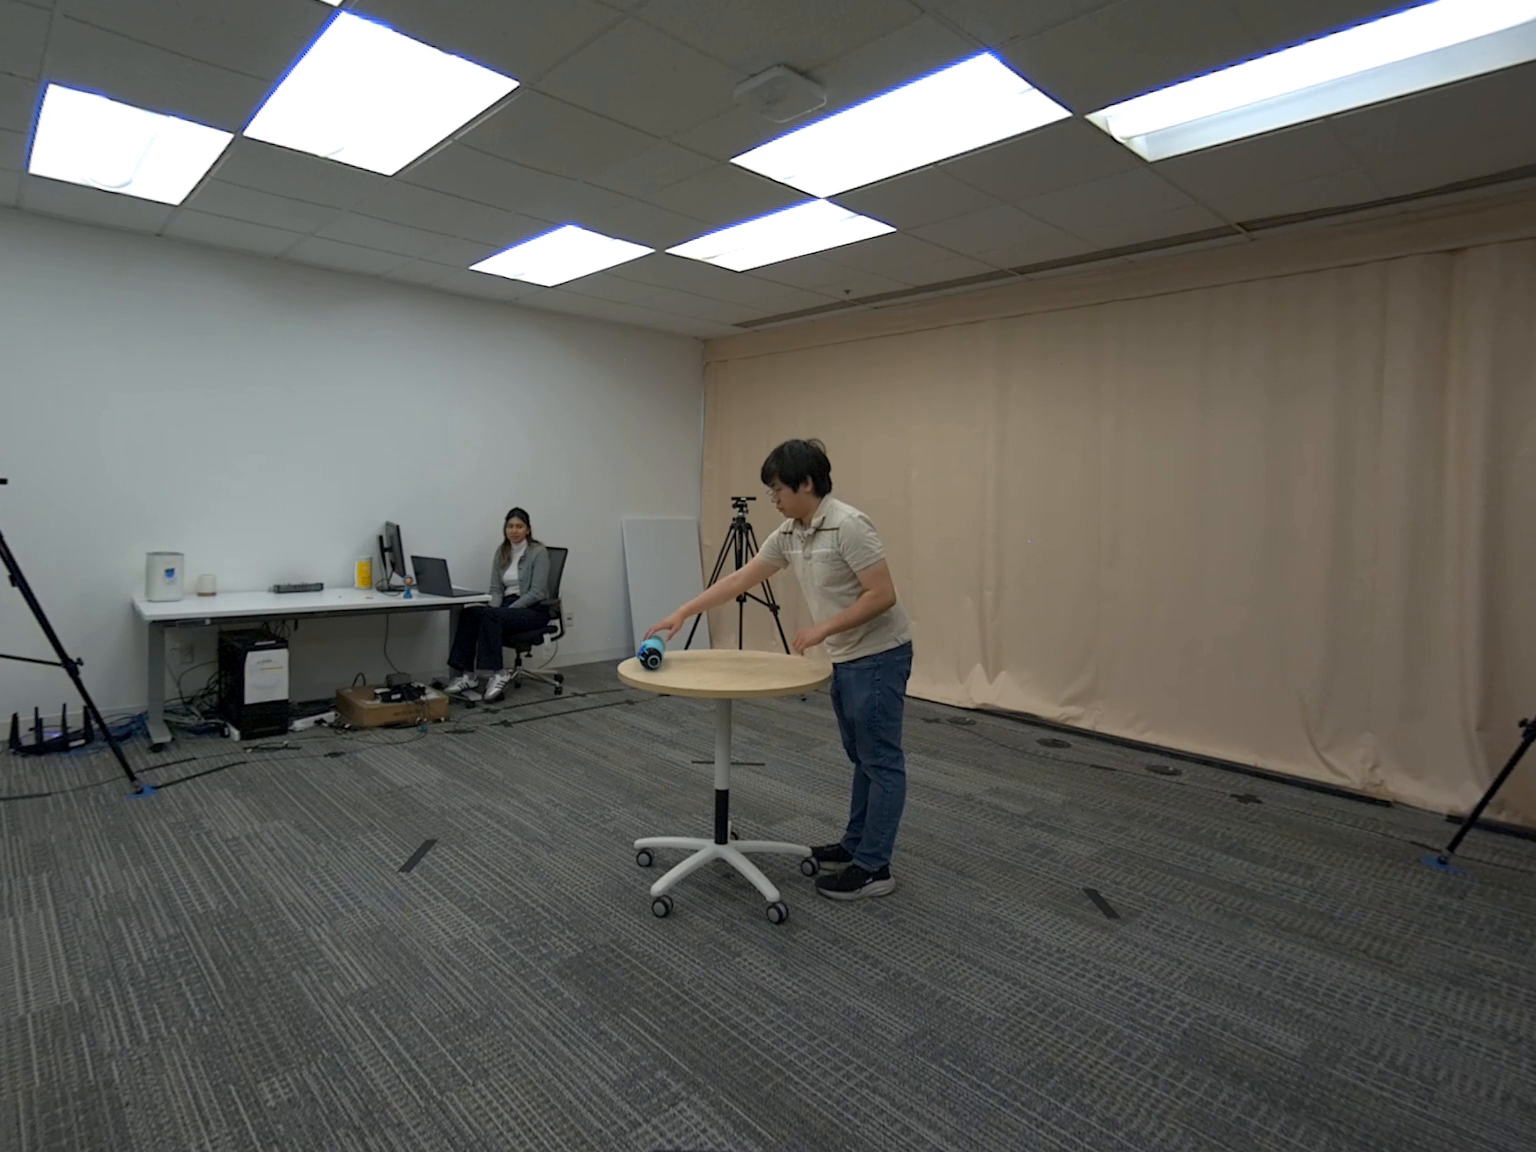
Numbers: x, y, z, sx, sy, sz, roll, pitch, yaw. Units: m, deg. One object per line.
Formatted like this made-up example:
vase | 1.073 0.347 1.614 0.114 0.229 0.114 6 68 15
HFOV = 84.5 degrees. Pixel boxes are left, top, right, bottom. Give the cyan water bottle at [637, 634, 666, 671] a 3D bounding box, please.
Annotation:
cyan water bottle | -0.423 0.278 3.053 0.092 0.092 0.284 1 3 -4
